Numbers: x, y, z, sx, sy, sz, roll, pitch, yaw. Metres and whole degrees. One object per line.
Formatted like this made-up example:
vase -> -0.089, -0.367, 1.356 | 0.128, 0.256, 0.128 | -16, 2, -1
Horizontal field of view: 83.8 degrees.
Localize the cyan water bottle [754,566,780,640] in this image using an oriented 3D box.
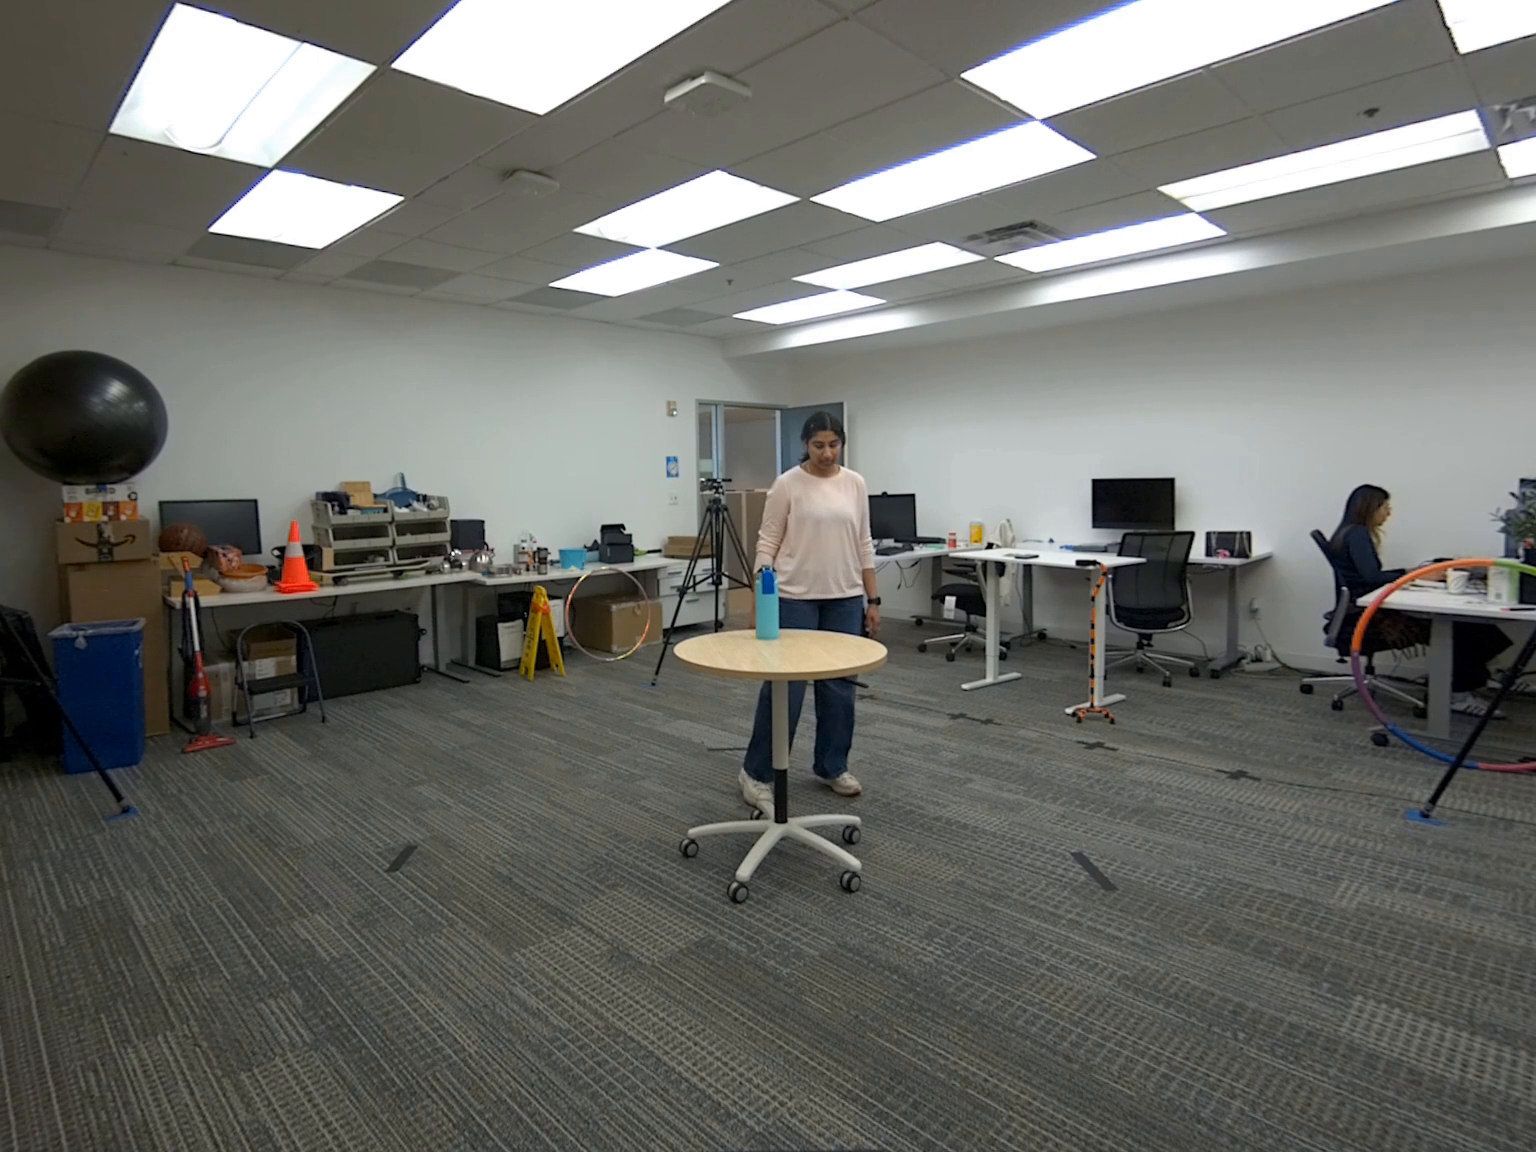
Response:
cyan water bottle -> -0.002, 0.103, 3.279 | 0.092, 0.282, 0.093 | -1, 5, -2
